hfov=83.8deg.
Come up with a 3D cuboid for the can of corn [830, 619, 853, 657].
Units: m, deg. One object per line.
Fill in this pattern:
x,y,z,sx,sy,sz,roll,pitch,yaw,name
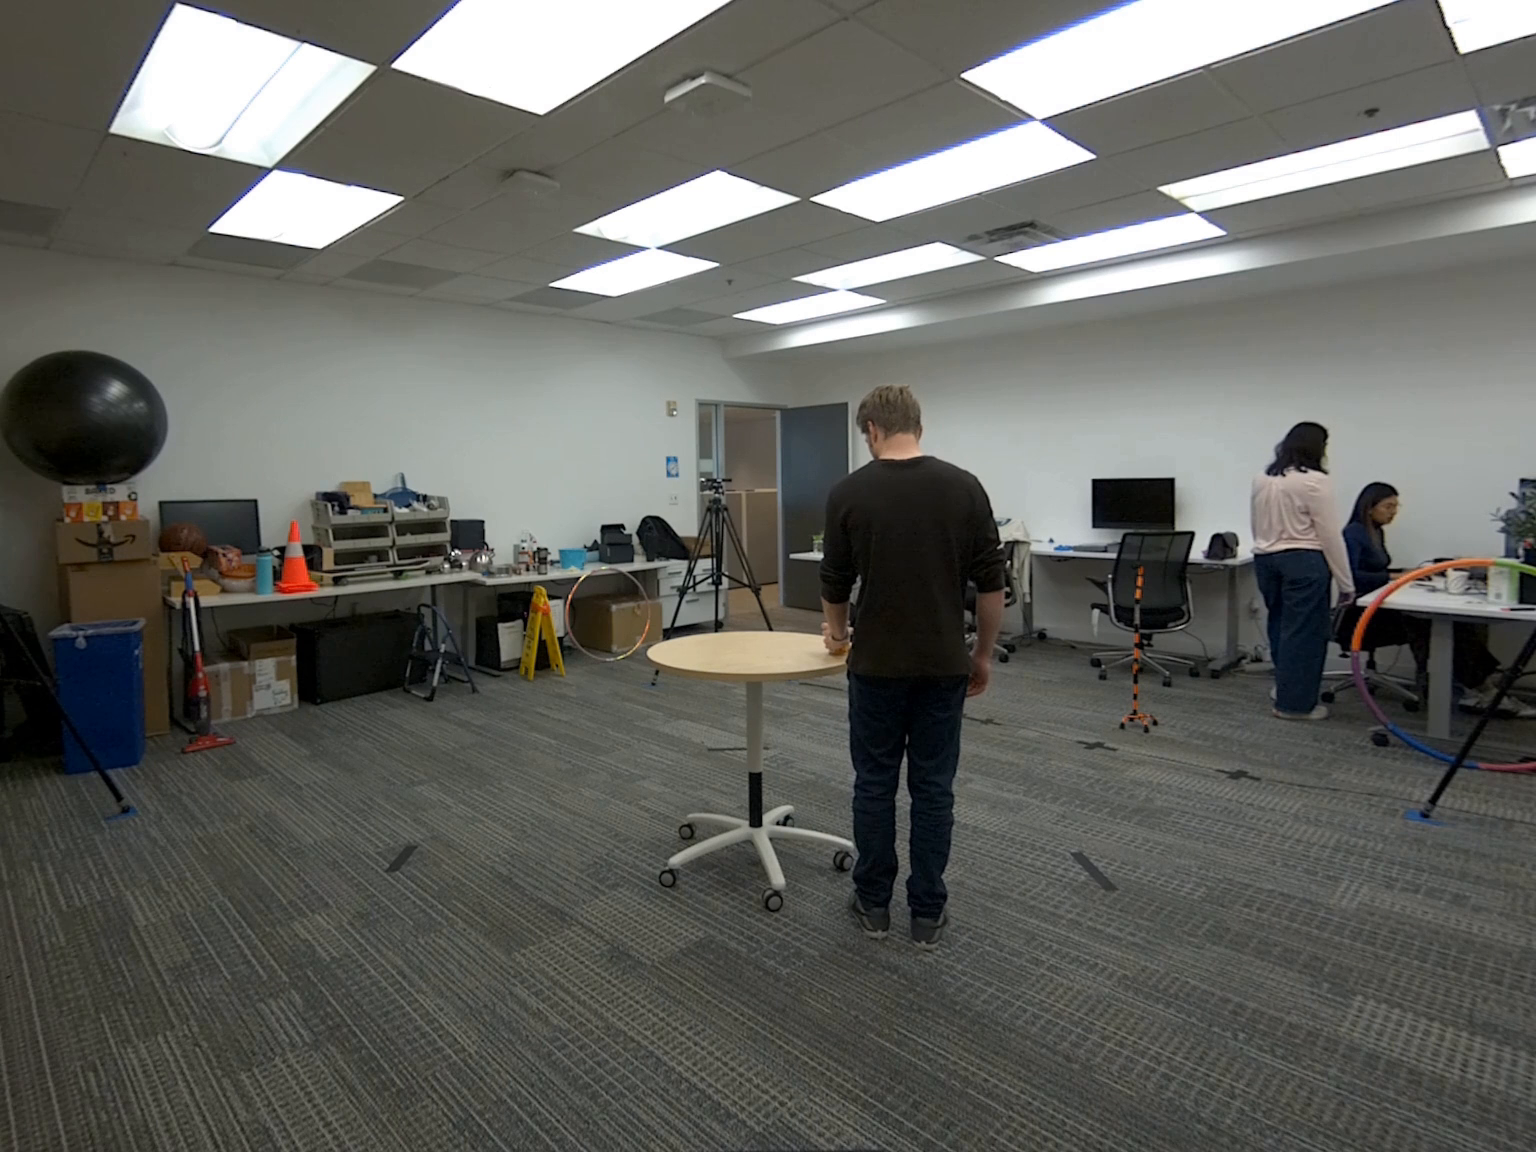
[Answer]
0.255,0.213,2.965,0.074,0.110,0.075,-1,7,-2,can of corn
